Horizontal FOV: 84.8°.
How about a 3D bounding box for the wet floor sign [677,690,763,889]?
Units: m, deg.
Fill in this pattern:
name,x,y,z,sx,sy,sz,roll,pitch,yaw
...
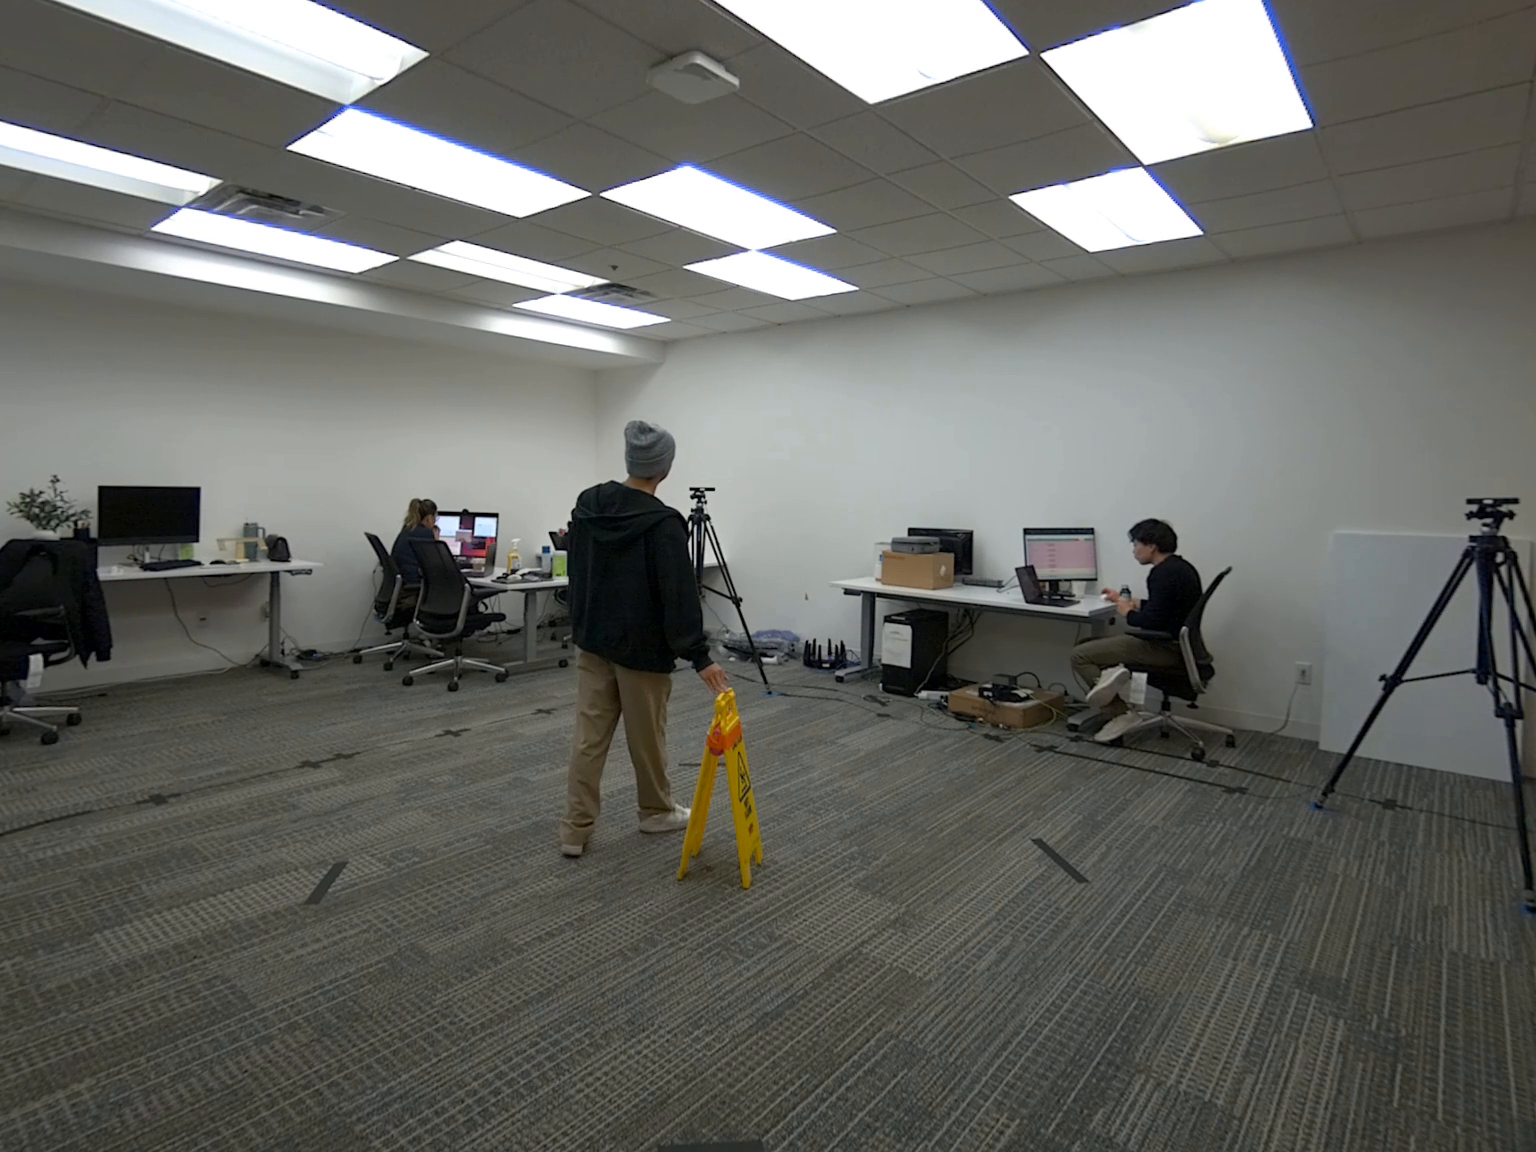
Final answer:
name,x,y,z,sx,sy,sz,roll,pitch,yaw
wet floor sign,-0.167,0.745,3.094,0.294,0.644,0.279,2,4,12
